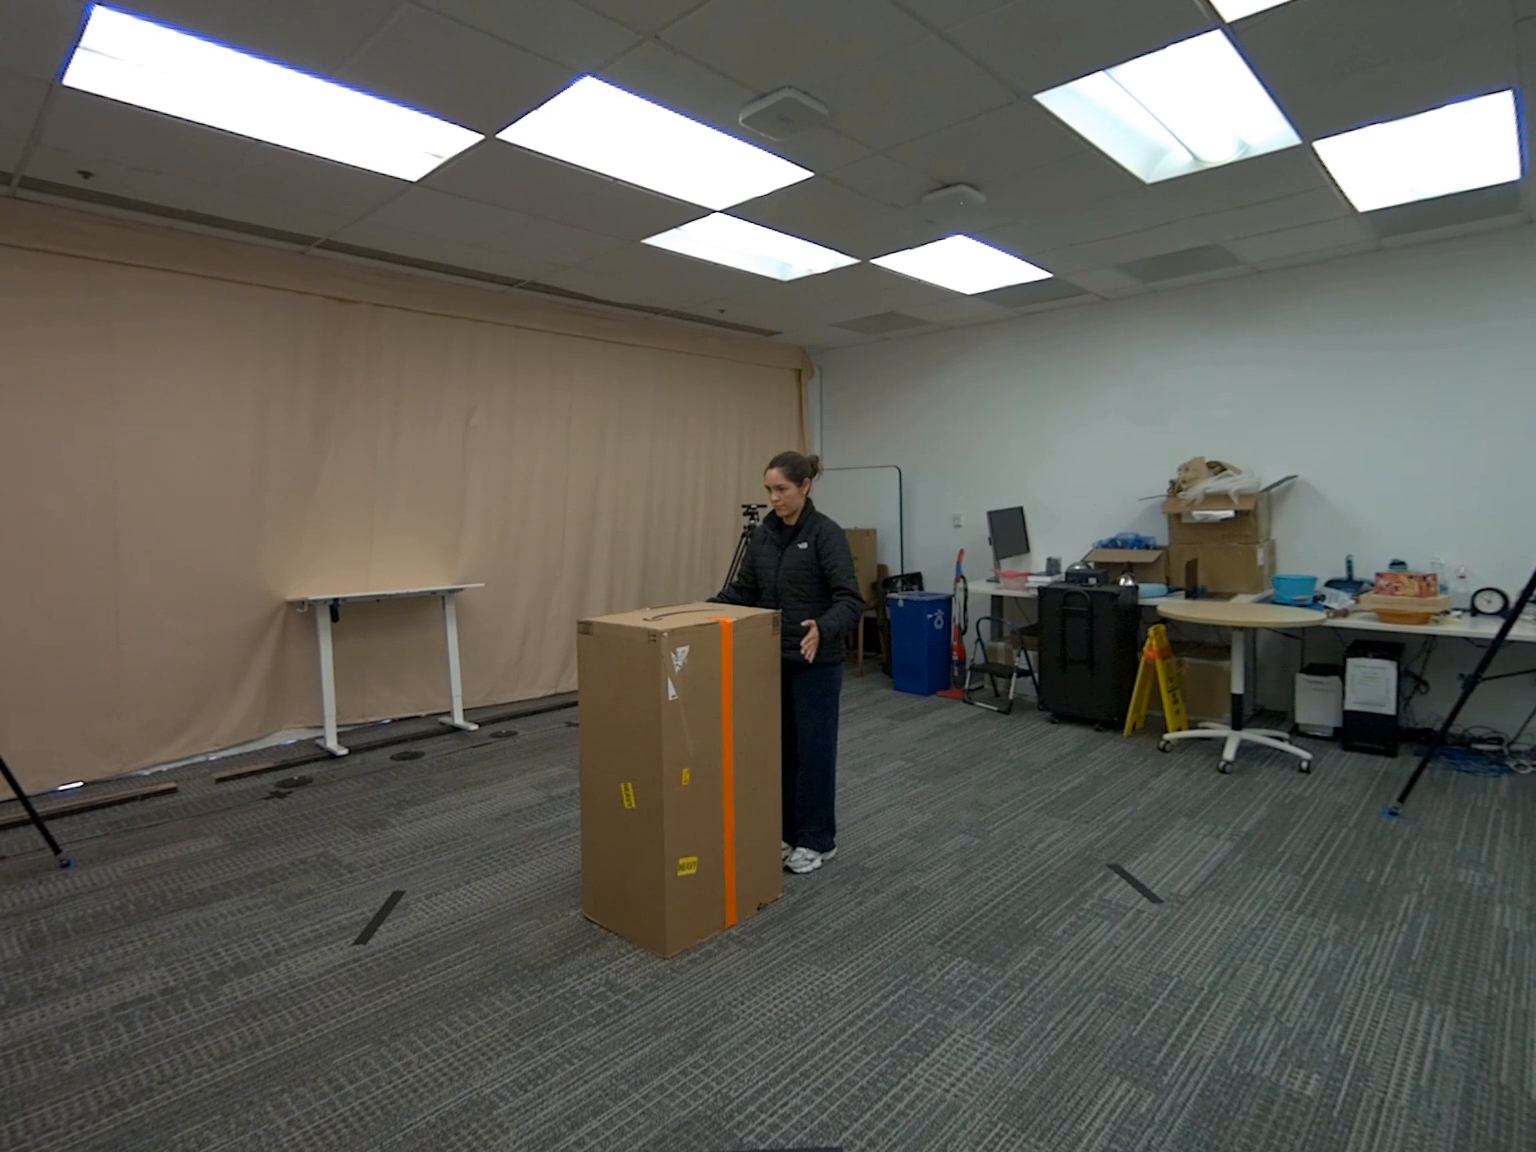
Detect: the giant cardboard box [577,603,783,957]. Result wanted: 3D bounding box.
[{"bbox_3d":[-0.284,0.647,2.903,0.440,1.024,0.560,2,4,42],"label":"giant cardboard box"}]
